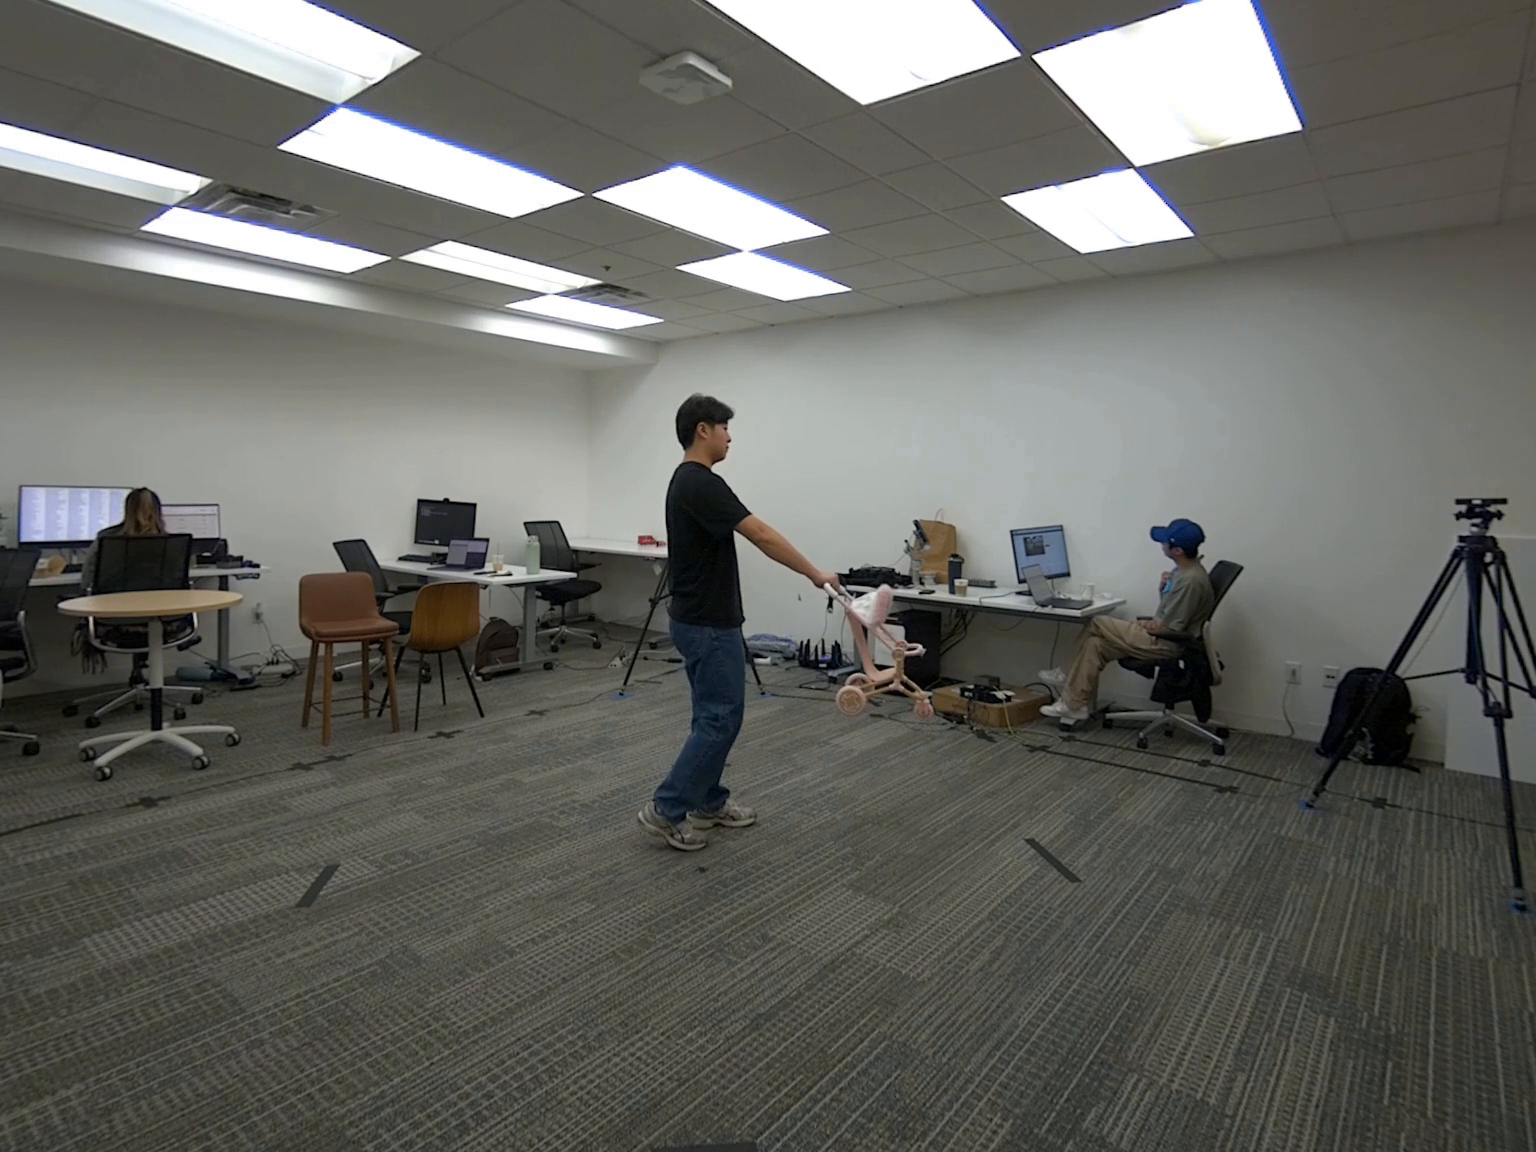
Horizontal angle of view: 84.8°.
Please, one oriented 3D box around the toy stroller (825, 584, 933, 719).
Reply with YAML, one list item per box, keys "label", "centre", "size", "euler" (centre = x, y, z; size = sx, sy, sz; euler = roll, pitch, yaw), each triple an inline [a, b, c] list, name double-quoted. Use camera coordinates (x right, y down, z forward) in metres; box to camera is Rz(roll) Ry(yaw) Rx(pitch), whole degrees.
- label: "toy stroller"
  centre: [0.399, 0.272, 3.125]
  size: [0.347, 0.535, 0.276]
  euler: [-7, 0, 19]
